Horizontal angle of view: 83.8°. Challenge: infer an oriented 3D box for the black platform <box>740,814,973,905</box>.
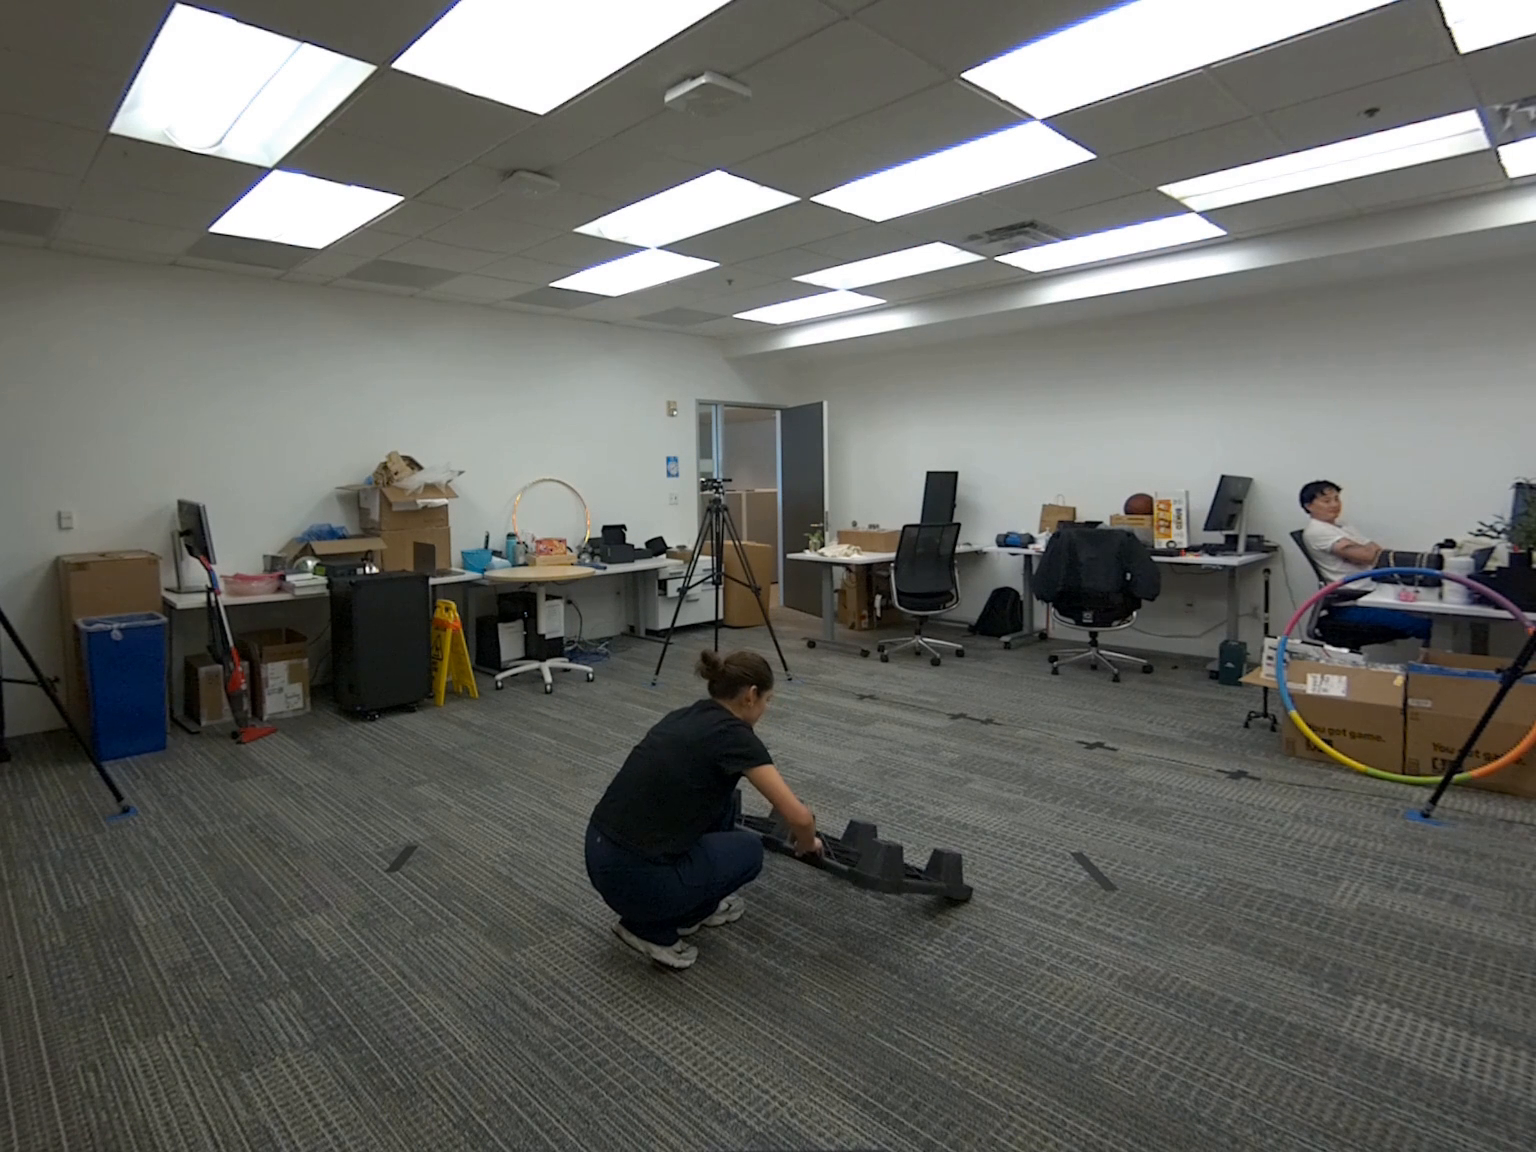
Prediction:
[{"bbox_3d":[0.215,0.894,2.922,0.830,0.144,0.582,5,-13,43],"label":"black platform"}]
